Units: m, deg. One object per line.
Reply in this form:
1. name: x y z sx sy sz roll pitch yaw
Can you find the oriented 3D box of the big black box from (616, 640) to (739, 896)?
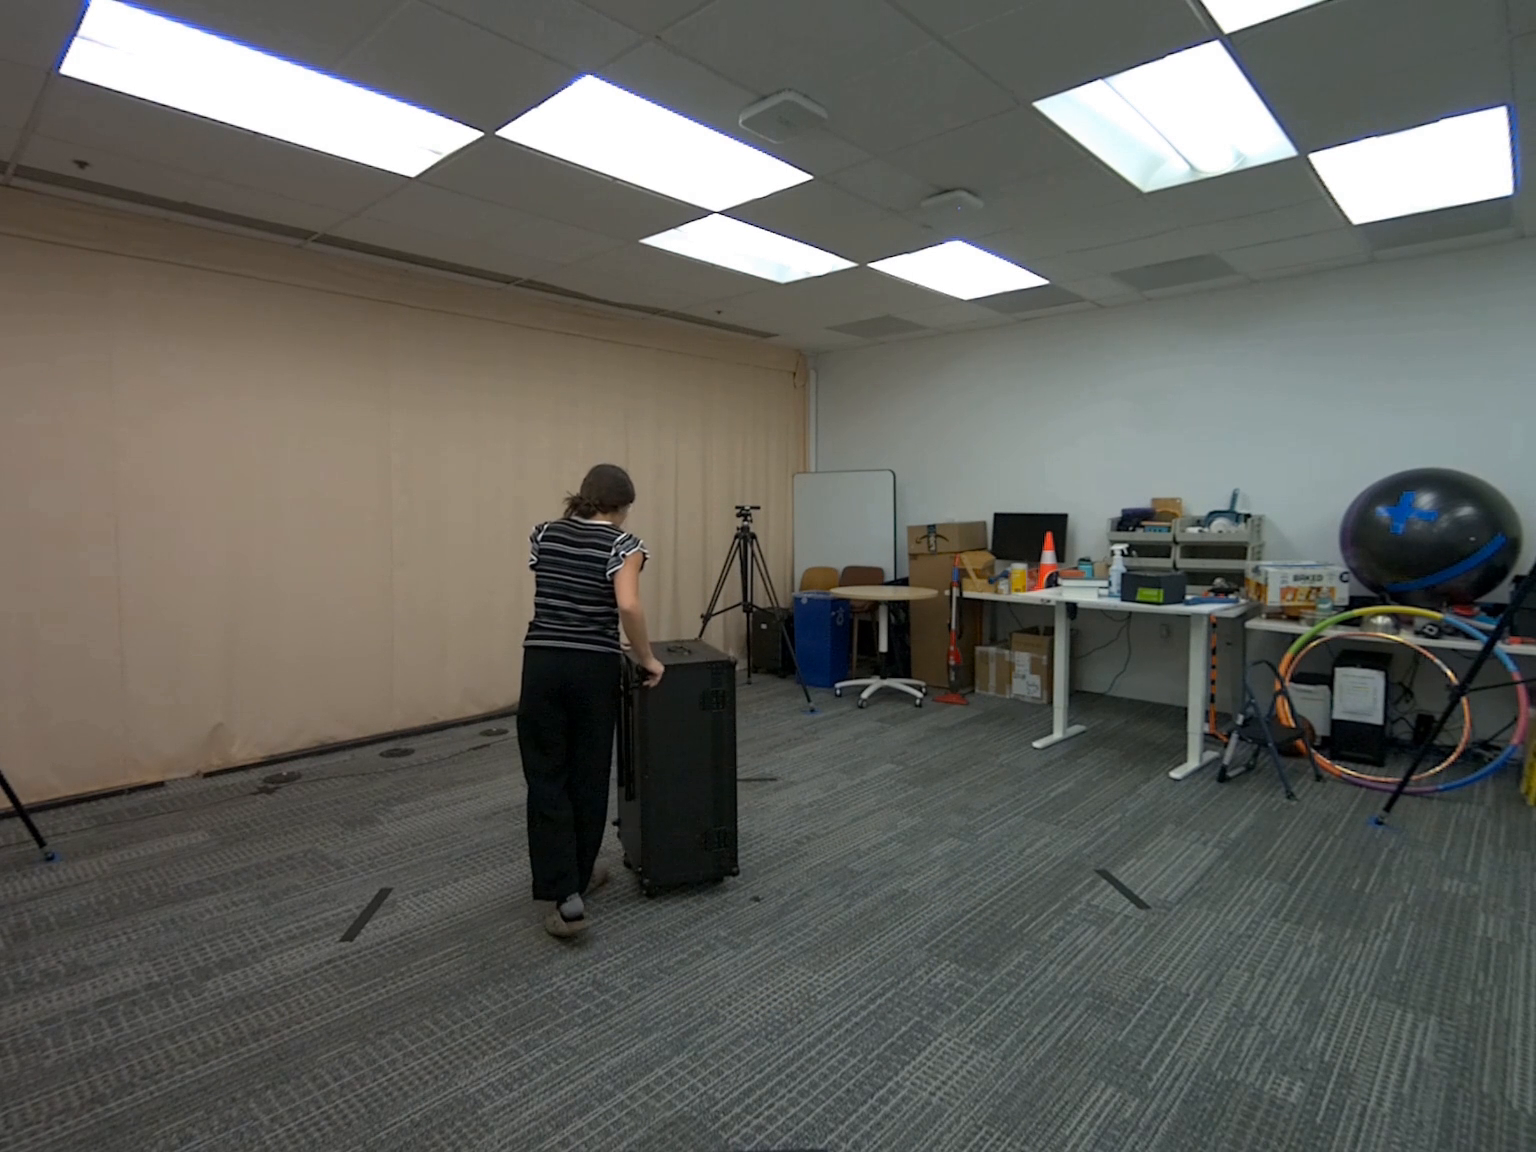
1. big black box: -0.356 0.709 3.168 0.389 0.859 0.533 -2 4 -20
